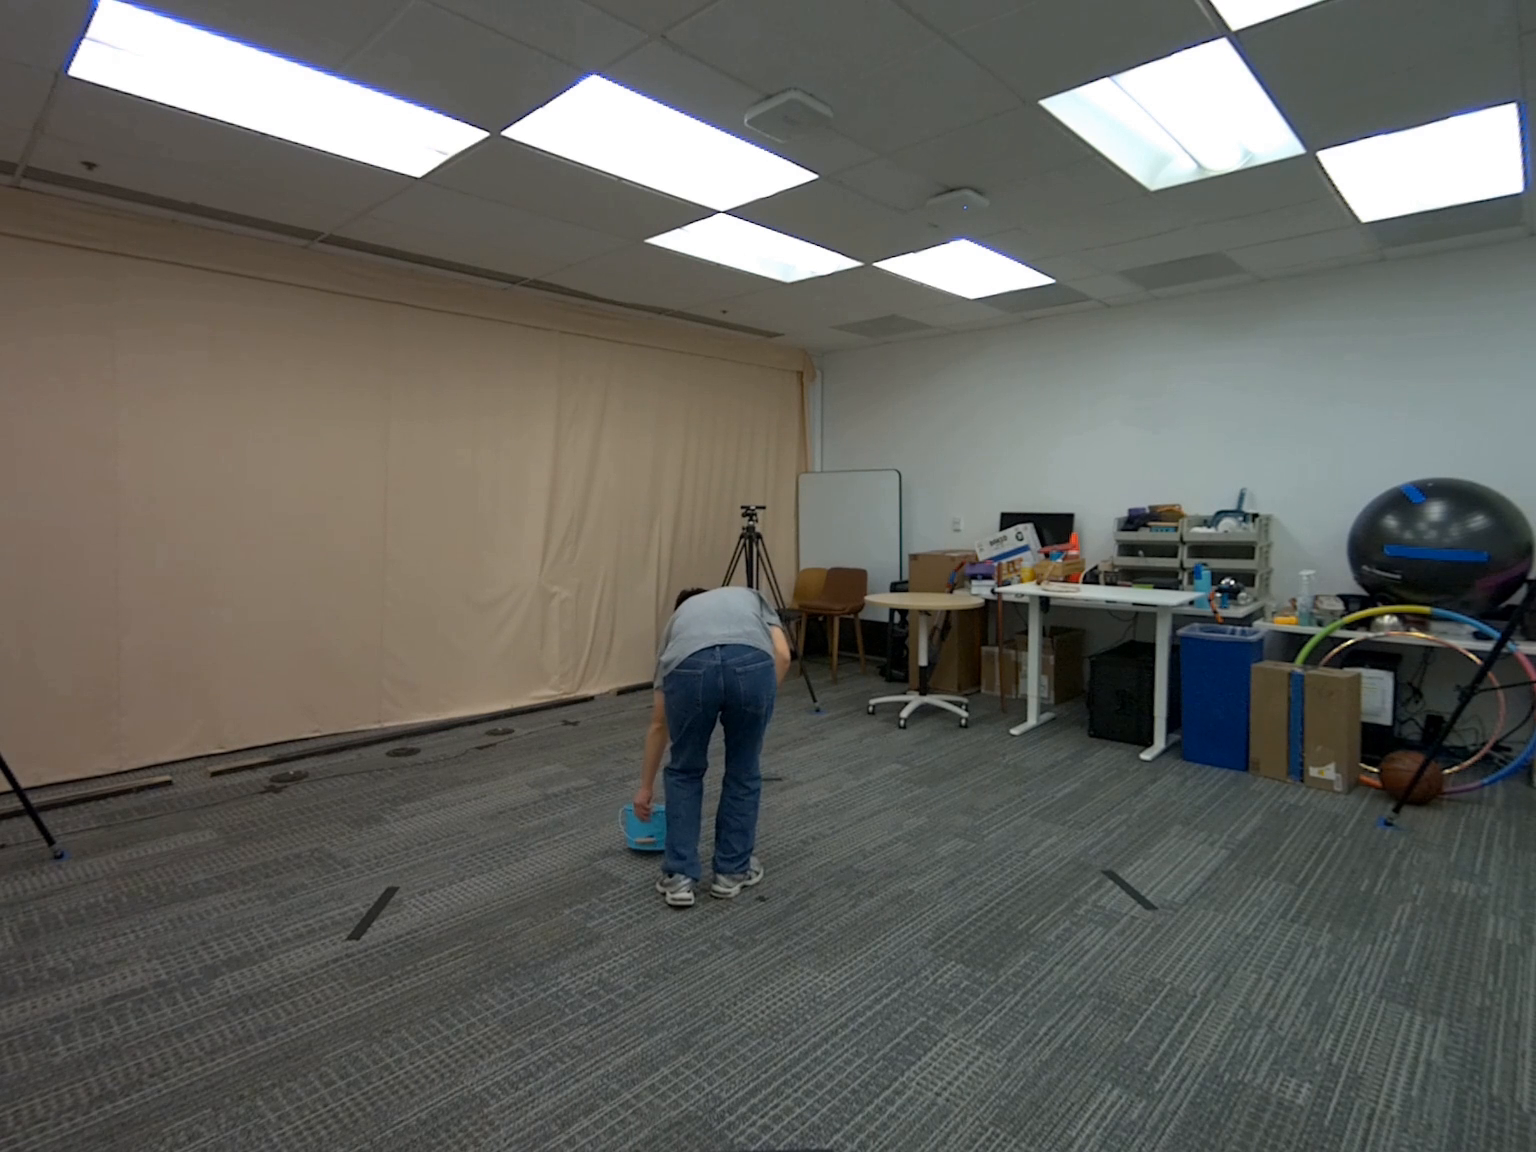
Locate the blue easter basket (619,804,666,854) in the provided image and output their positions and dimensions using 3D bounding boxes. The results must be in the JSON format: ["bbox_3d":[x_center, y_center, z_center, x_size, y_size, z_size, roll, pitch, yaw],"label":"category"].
[{"bbox_3d":[-0.478,1.013,3.409,0.243,0.157,0.242,3,-10,-1],"label":"blue easter basket"}]
